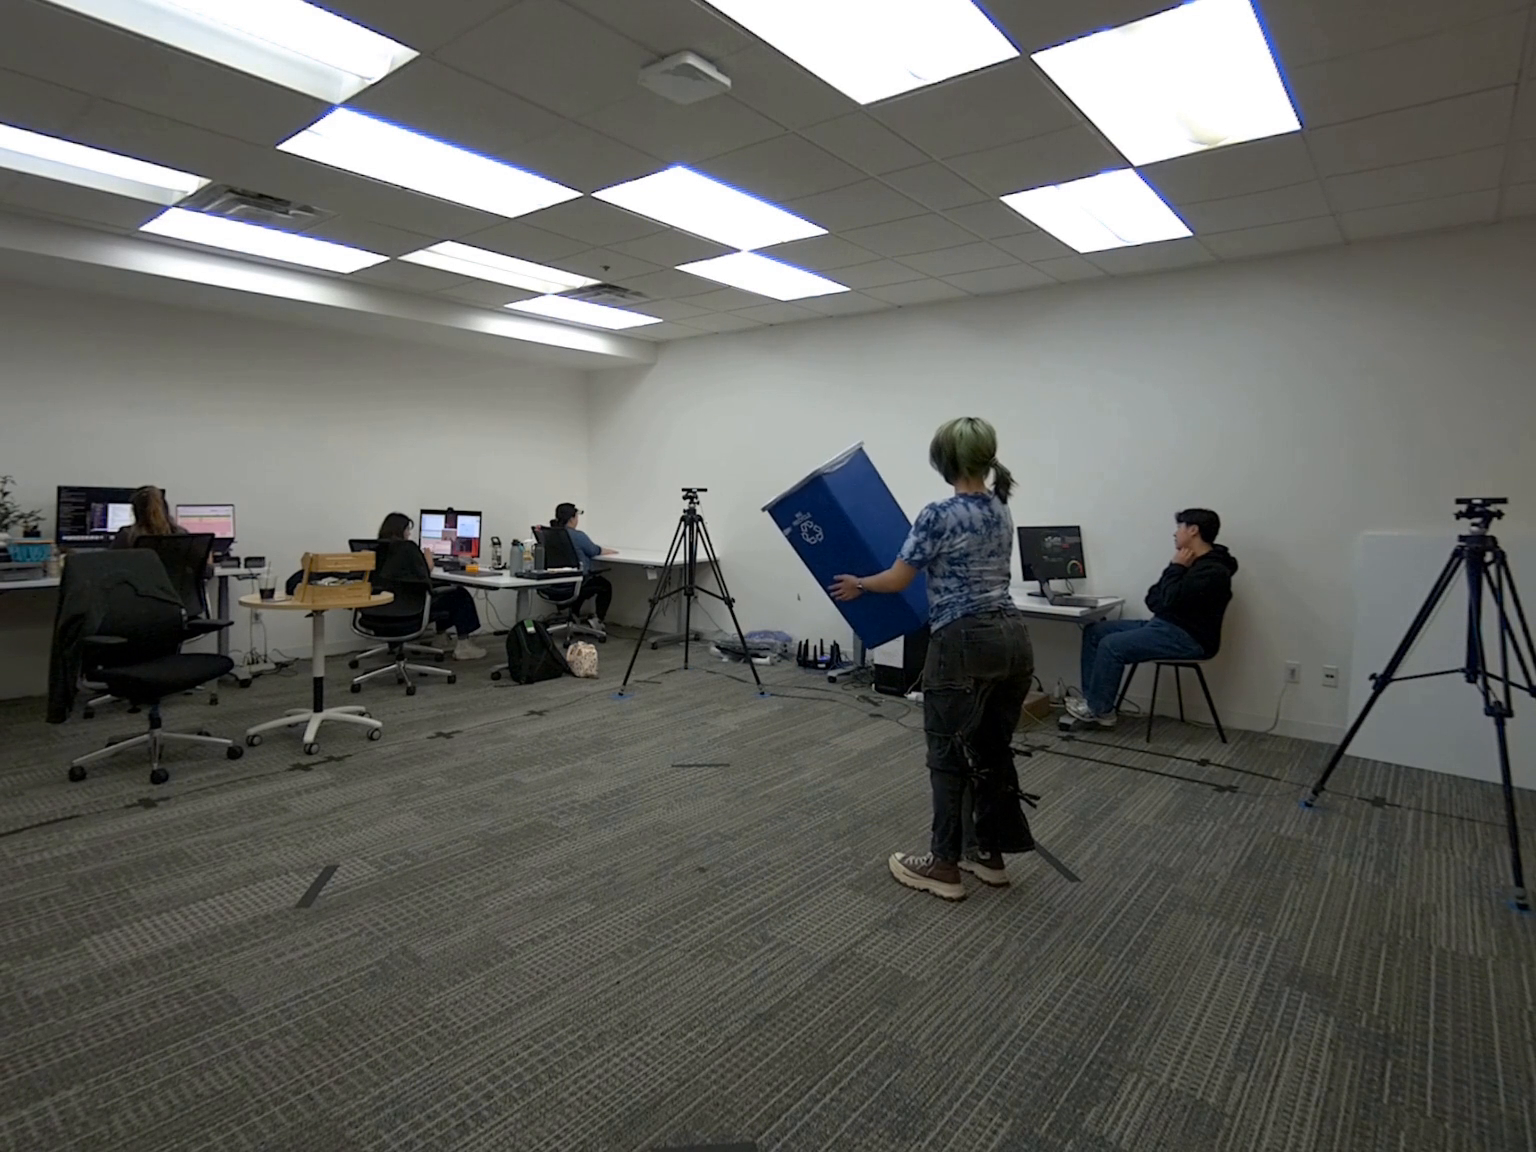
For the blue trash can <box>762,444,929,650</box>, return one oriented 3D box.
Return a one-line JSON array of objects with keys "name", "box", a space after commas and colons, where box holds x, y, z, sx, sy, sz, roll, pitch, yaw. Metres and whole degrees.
[{"name": "blue trash can", "box": [0.364, -0.120, 3.402, 0.374, 0.716, 0.377, -34, -2, -44]}]
